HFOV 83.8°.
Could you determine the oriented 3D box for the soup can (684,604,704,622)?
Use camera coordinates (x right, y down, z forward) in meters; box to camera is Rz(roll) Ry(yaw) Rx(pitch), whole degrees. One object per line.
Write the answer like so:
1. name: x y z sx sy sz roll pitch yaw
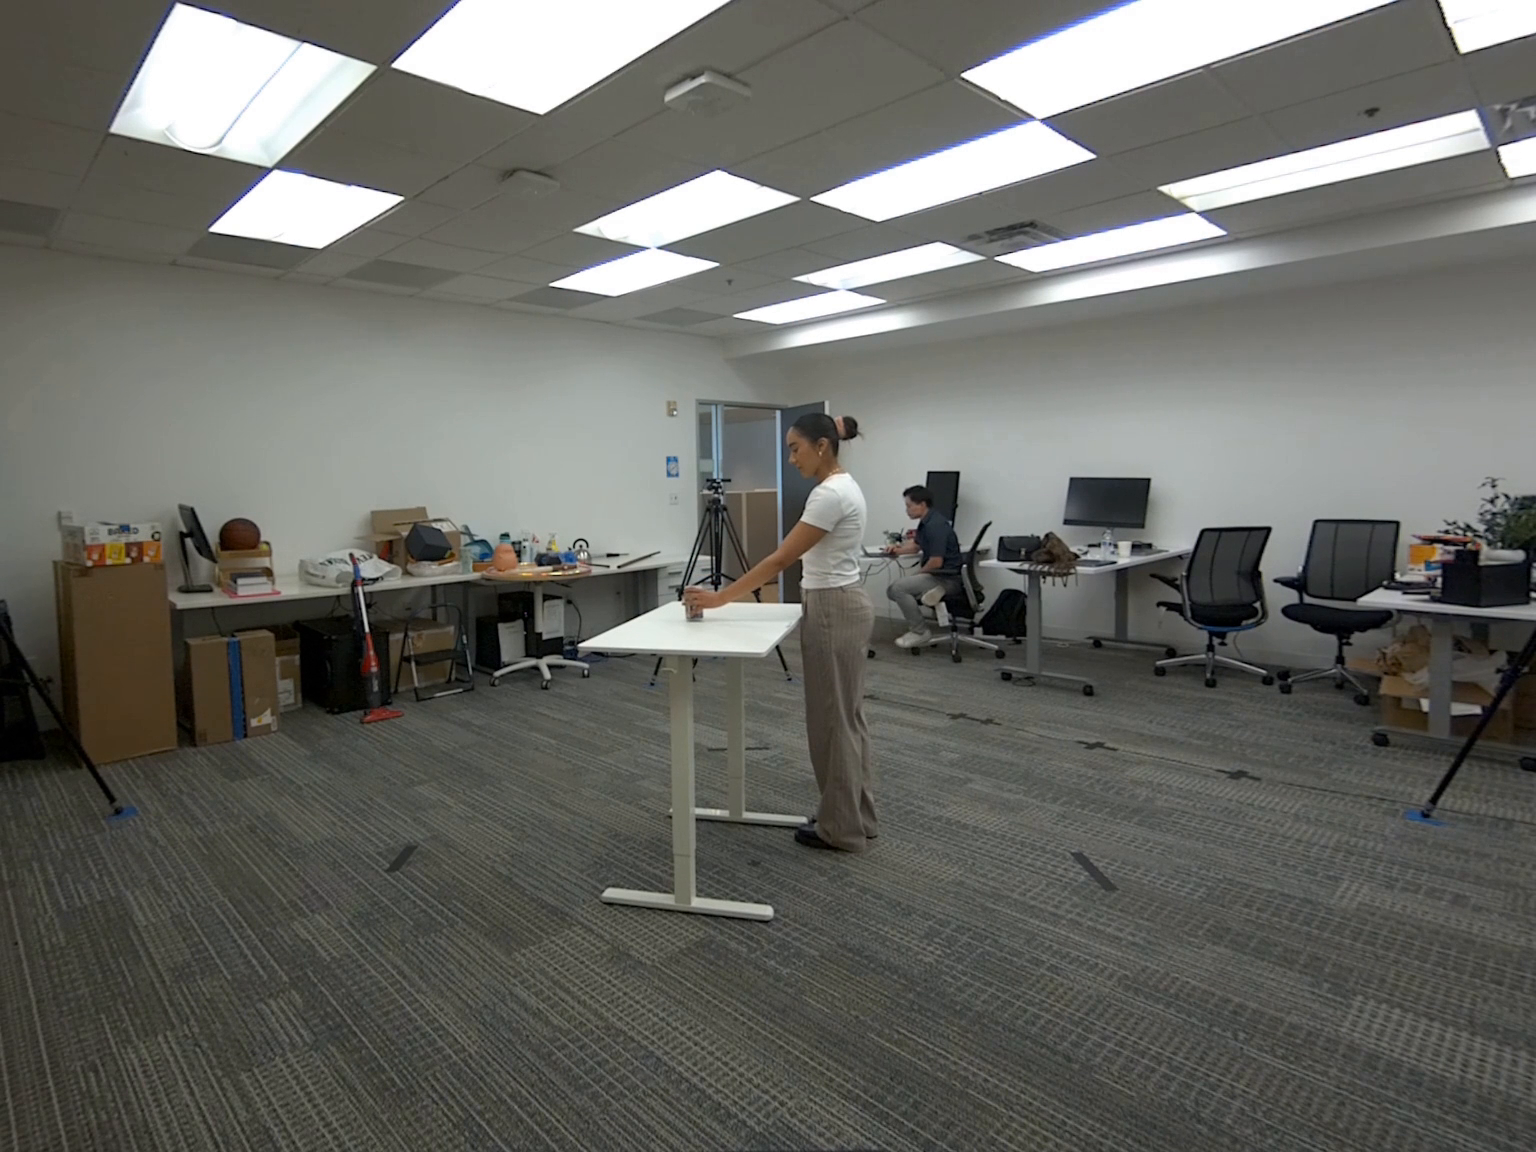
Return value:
1. soup can: -0.264 0.098 3.137 0.067 0.121 0.067 -1 0 -2
